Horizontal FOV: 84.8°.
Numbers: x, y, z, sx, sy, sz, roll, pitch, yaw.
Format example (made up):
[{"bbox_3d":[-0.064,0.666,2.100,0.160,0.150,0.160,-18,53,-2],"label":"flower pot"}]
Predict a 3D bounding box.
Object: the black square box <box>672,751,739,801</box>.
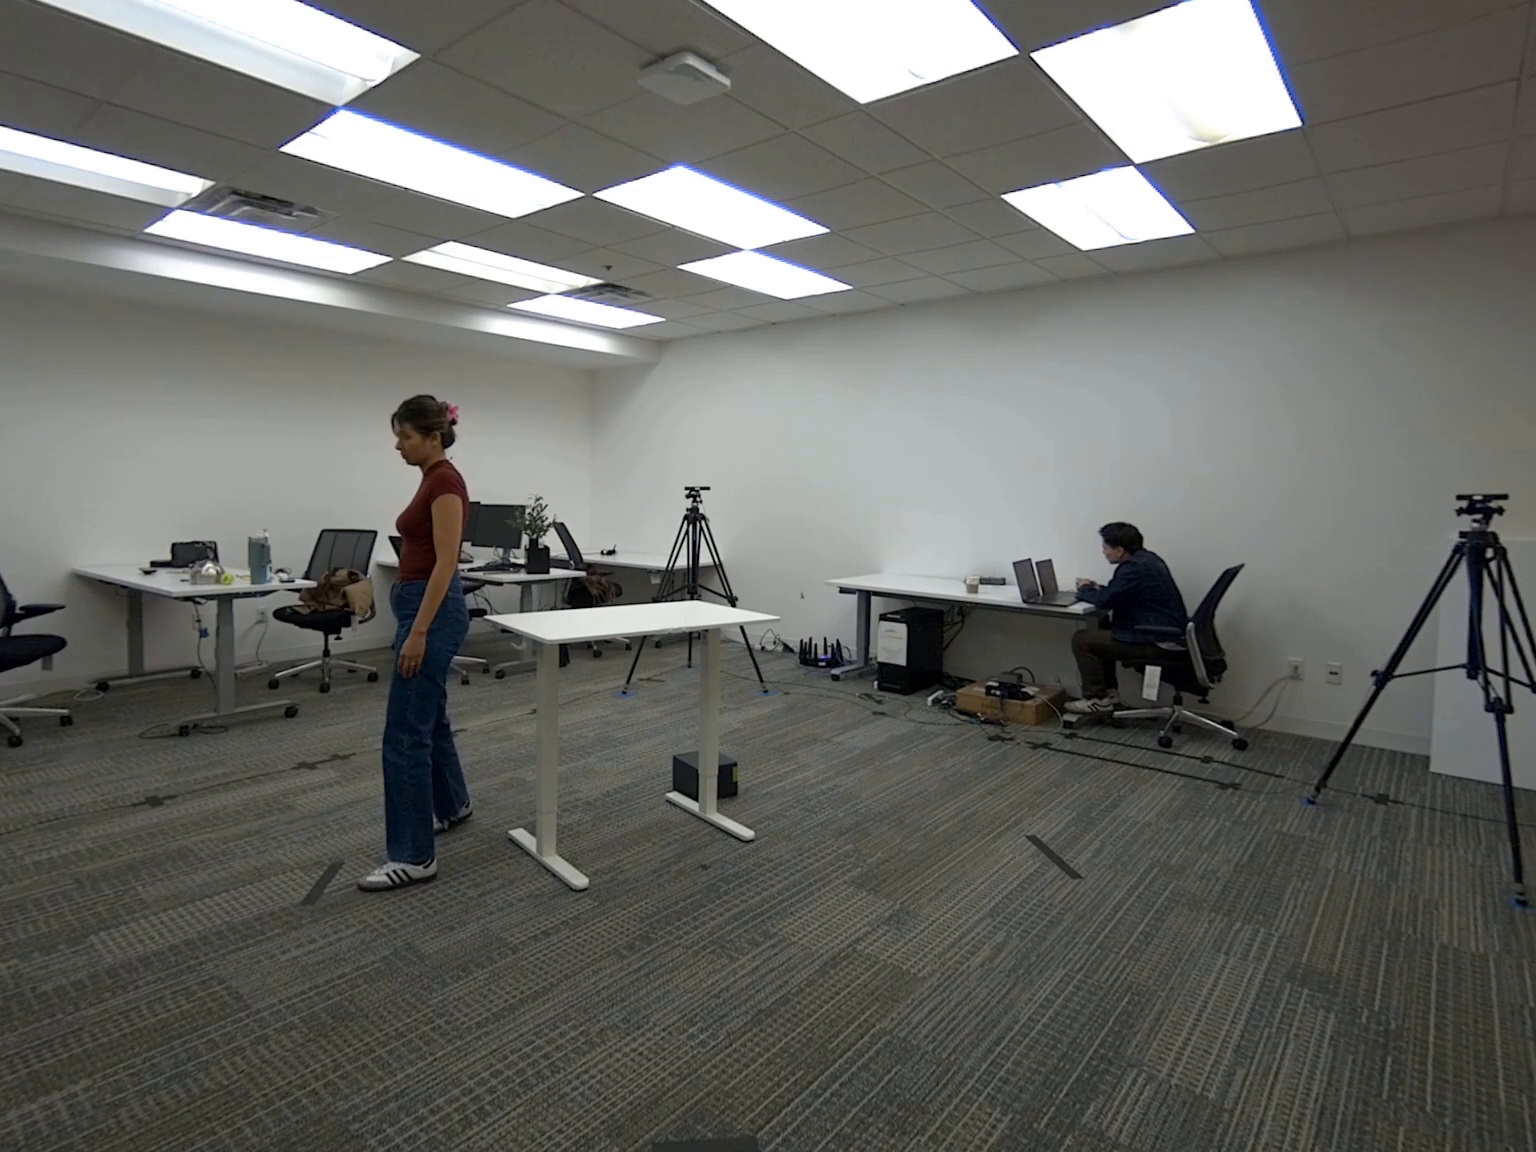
[{"bbox_3d":[-0.295,0.903,3.887,0.211,0.155,0.235,-3,6,-34],"label":"black square box"}]
